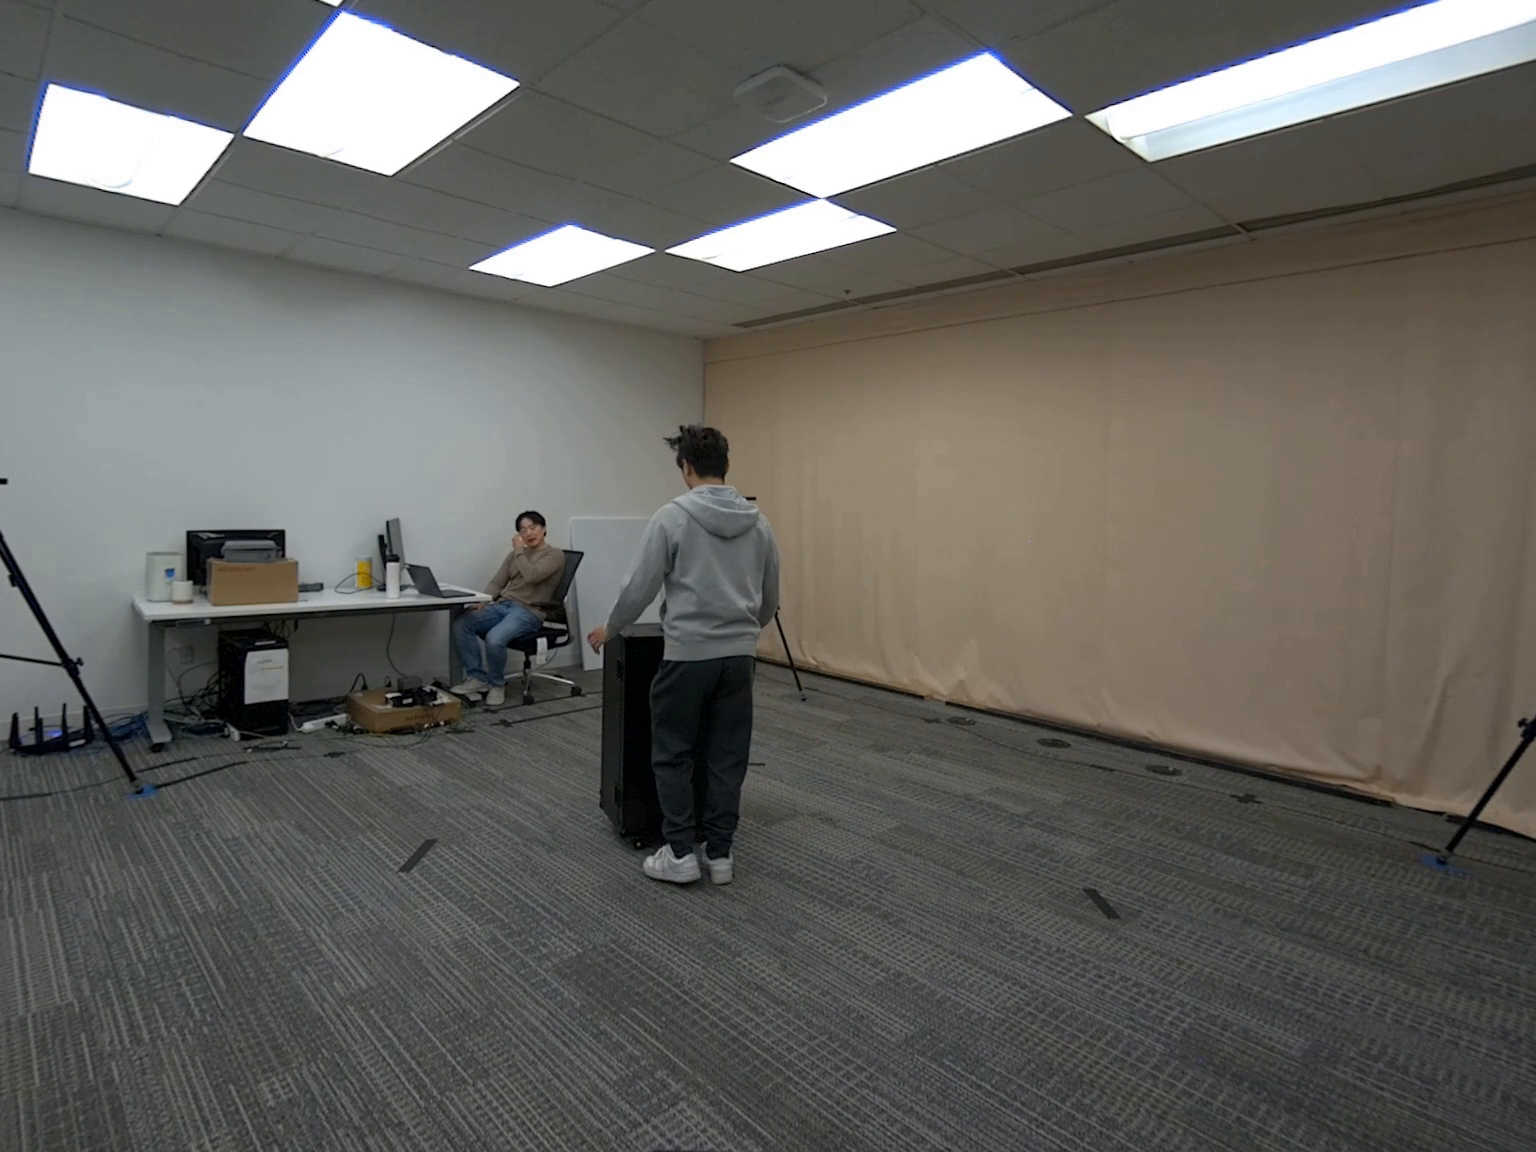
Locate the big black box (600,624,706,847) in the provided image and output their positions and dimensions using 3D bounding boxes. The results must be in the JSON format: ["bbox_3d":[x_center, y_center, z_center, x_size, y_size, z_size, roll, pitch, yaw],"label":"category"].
[{"bbox_3d":[-0.430,0.643,3.499,0.512,0.860,0.404,0,2,-24],"label":"big black box"}]
